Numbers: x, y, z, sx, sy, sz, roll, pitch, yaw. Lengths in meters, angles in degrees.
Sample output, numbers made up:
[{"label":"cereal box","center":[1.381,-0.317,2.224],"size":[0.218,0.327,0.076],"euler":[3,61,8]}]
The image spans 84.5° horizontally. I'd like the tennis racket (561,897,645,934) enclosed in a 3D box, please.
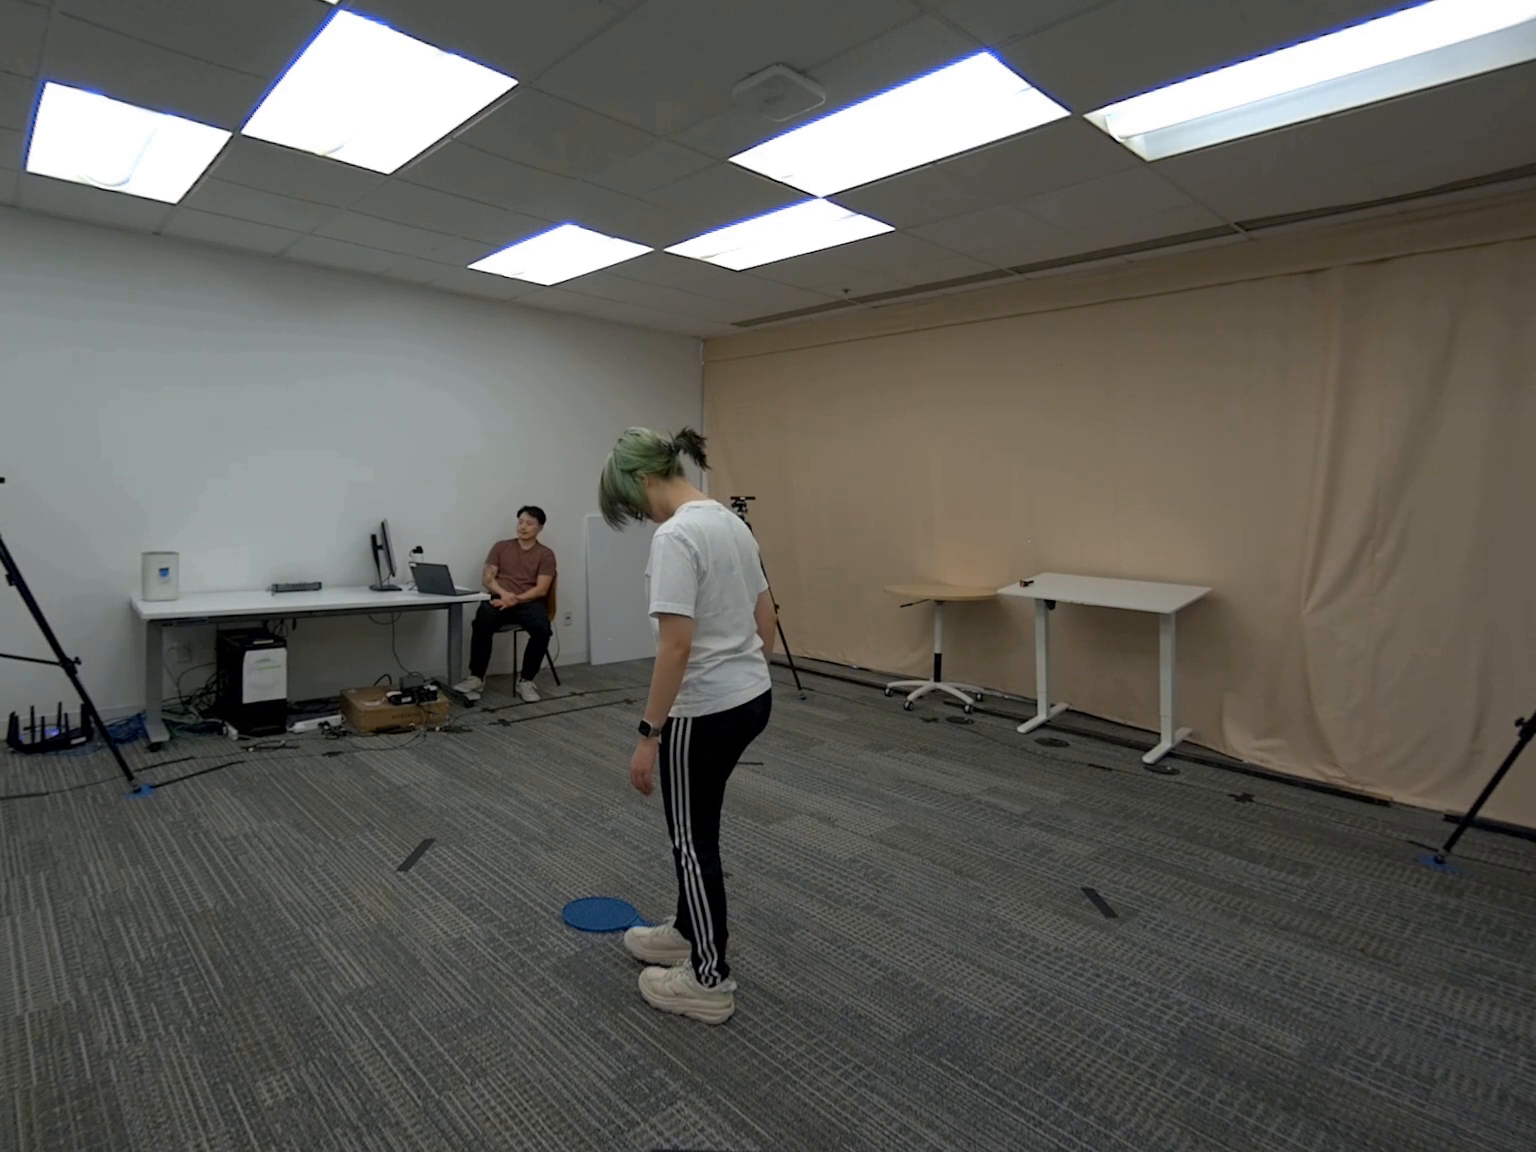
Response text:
[{"label":"tennis racket","center":[-0.487,1.119,2.741],"size":[0.442,0.031,0.210],"euler":[2,6,28]}]
